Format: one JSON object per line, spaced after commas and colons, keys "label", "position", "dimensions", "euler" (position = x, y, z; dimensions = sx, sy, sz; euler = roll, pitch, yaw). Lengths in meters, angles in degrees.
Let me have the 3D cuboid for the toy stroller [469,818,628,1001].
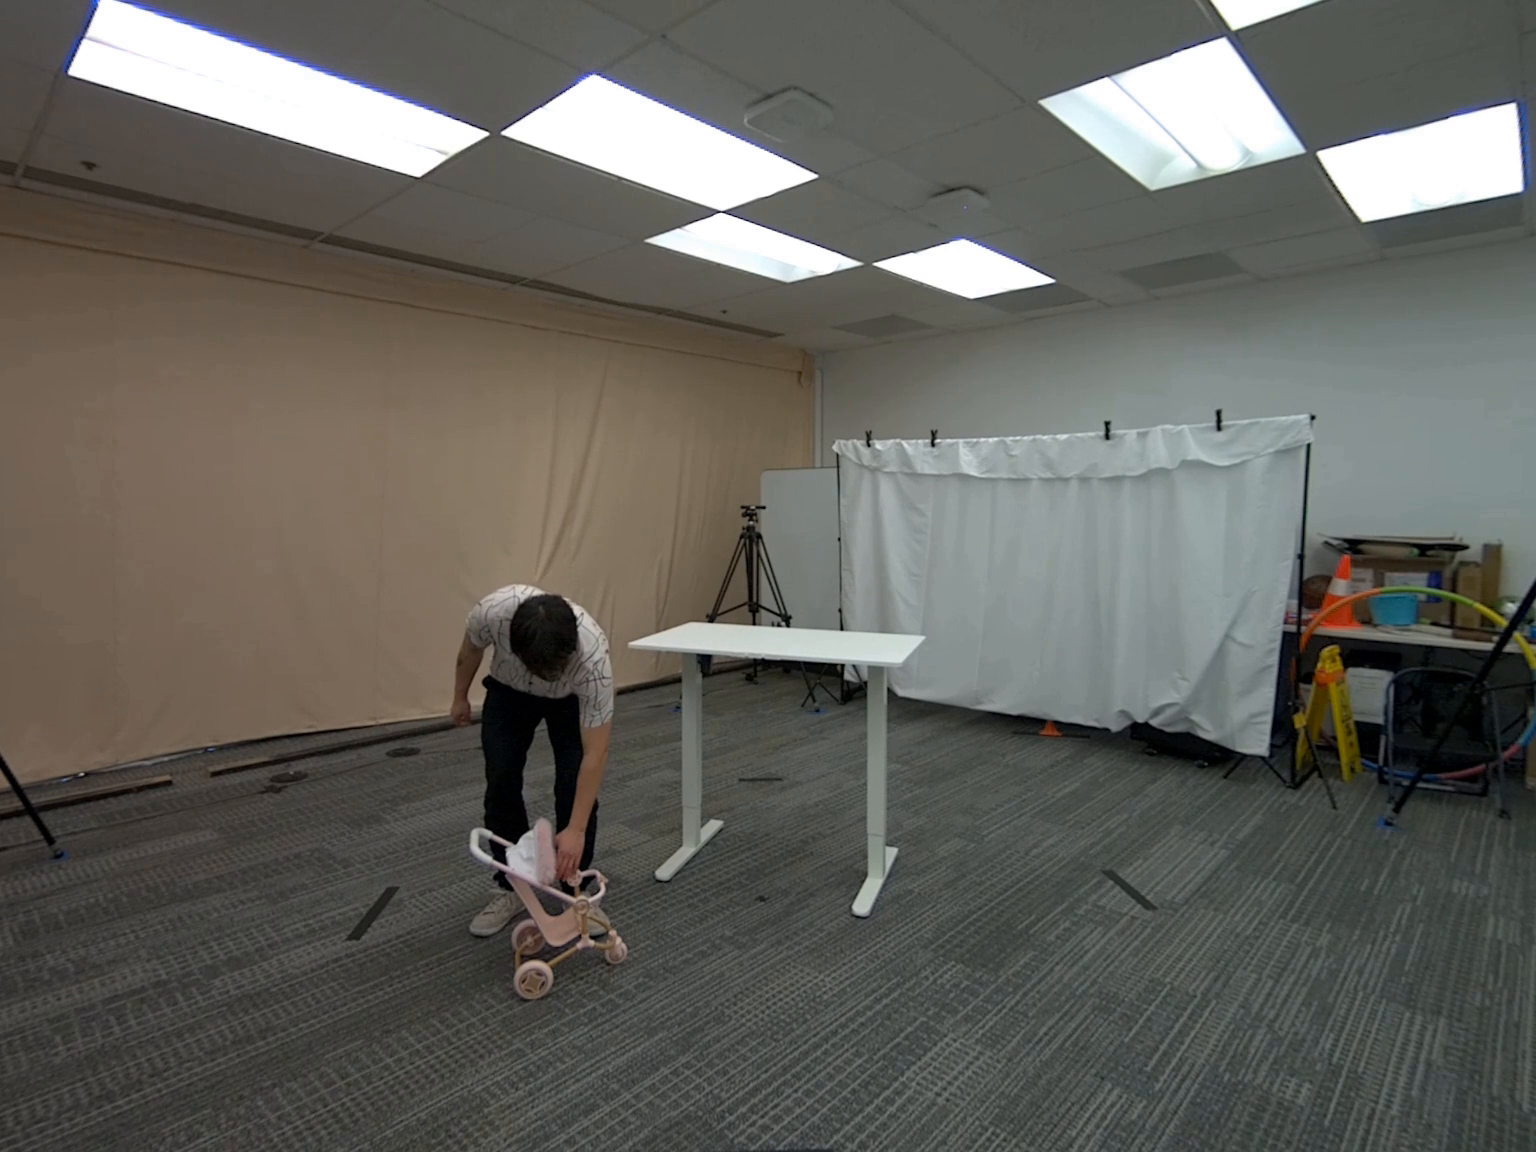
{"label": "toy stroller", "position": [-0.641, 0.960, 2.503], "dimensions": [0.338, 0.532, 0.285], "euler": [-17, 7, -11]}
